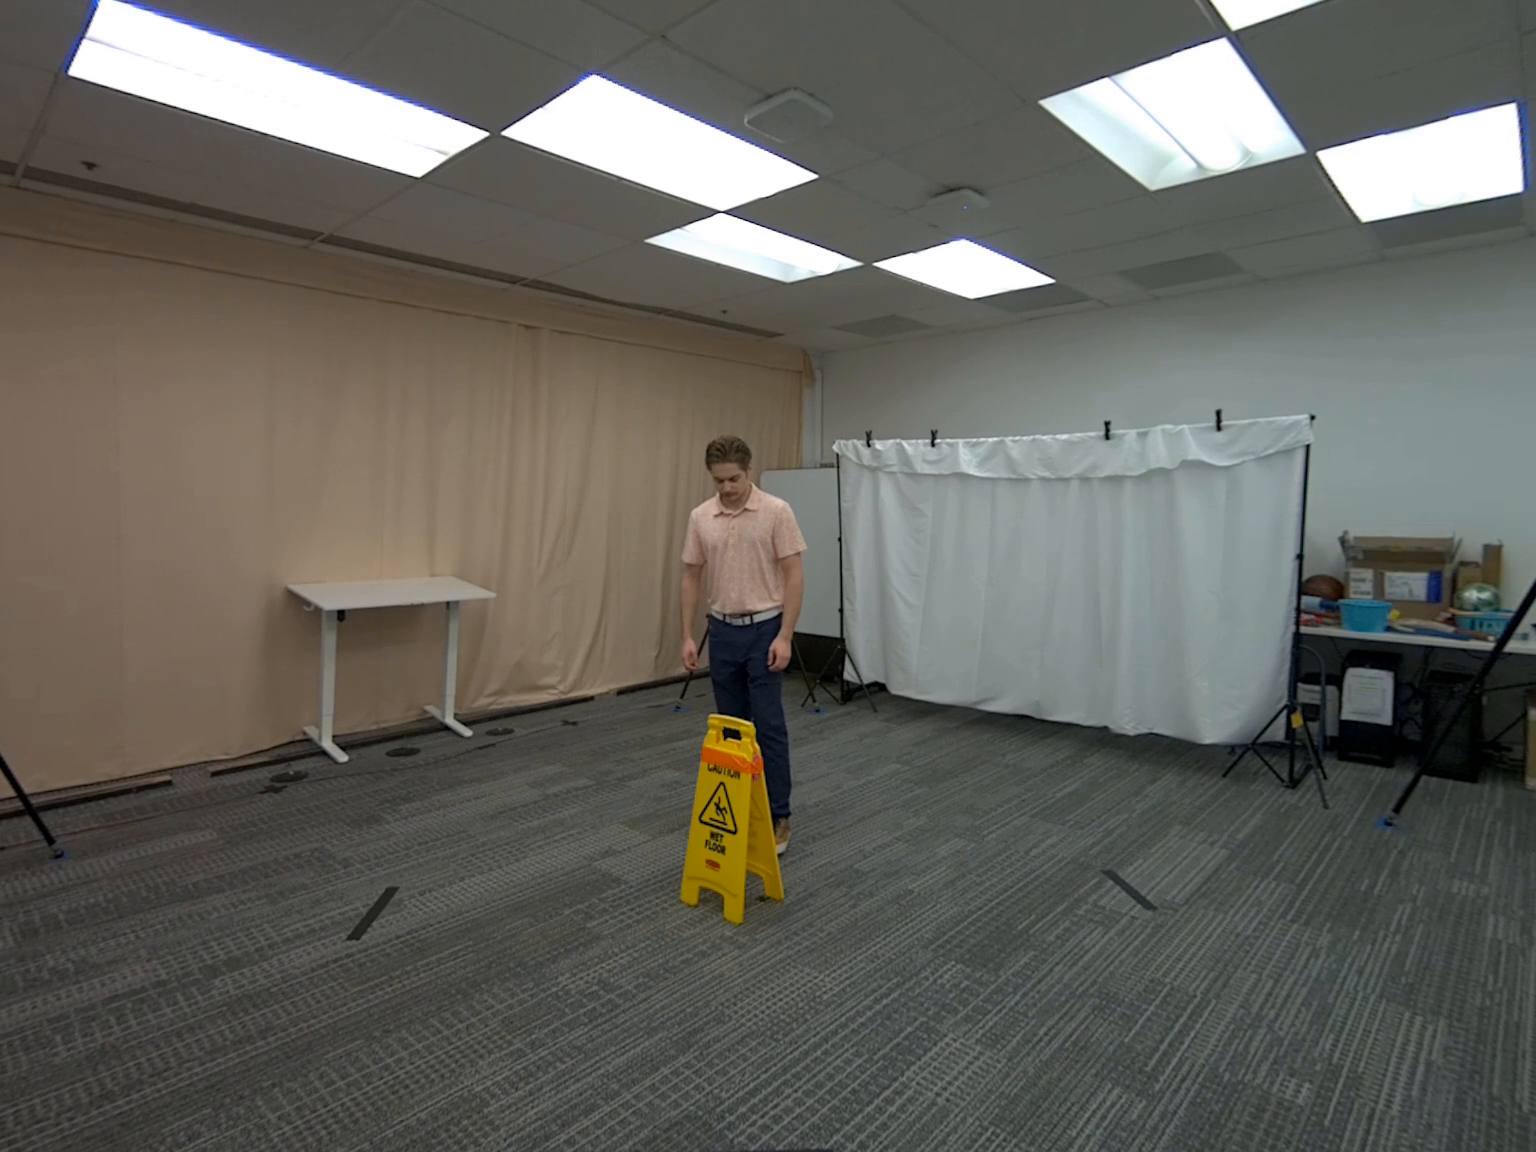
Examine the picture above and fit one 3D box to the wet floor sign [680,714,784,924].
[{"bbox_3d":[-0.128,0.815,2.954,0.291,0.645,0.281,2,4,40],"label":"wet floor sign"}]
